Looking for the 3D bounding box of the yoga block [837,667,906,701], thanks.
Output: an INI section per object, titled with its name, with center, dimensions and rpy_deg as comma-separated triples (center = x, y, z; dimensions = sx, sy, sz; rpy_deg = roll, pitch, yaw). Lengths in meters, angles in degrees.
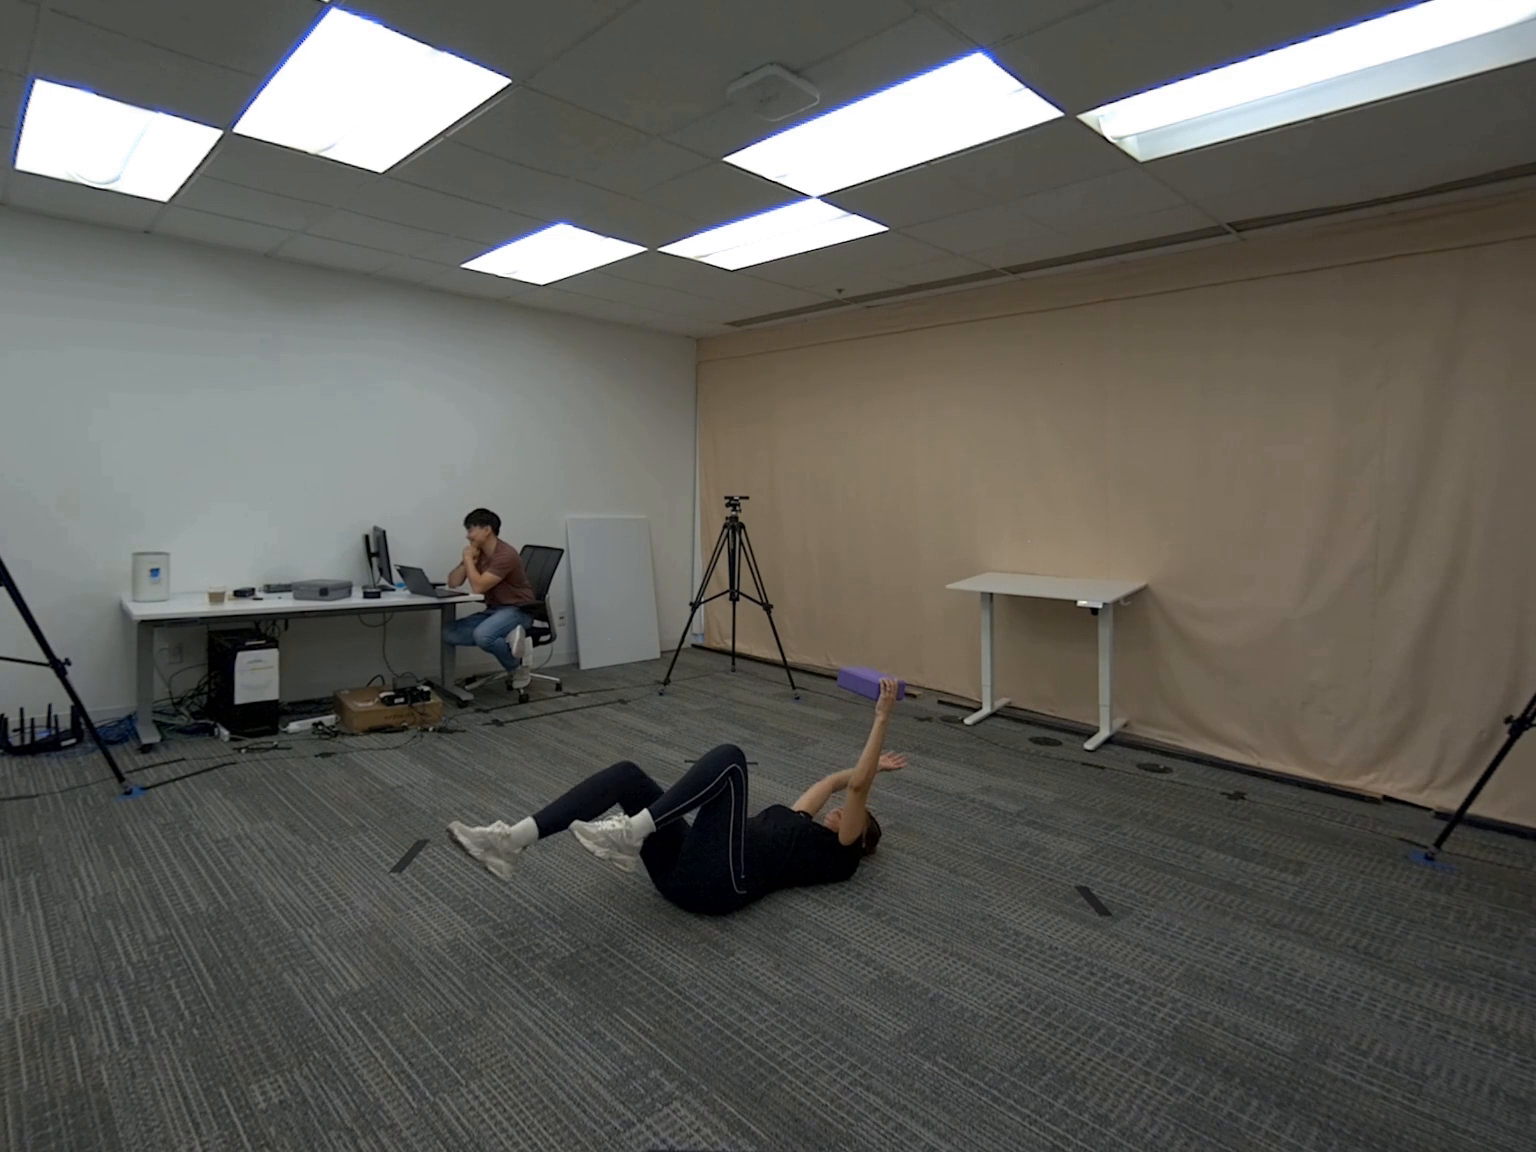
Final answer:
[yoga block]
center = 0.392, 0.410, 3.216
dimensions = 0.146, 0.076, 0.235
rpy_deg = 4, 6, -31
